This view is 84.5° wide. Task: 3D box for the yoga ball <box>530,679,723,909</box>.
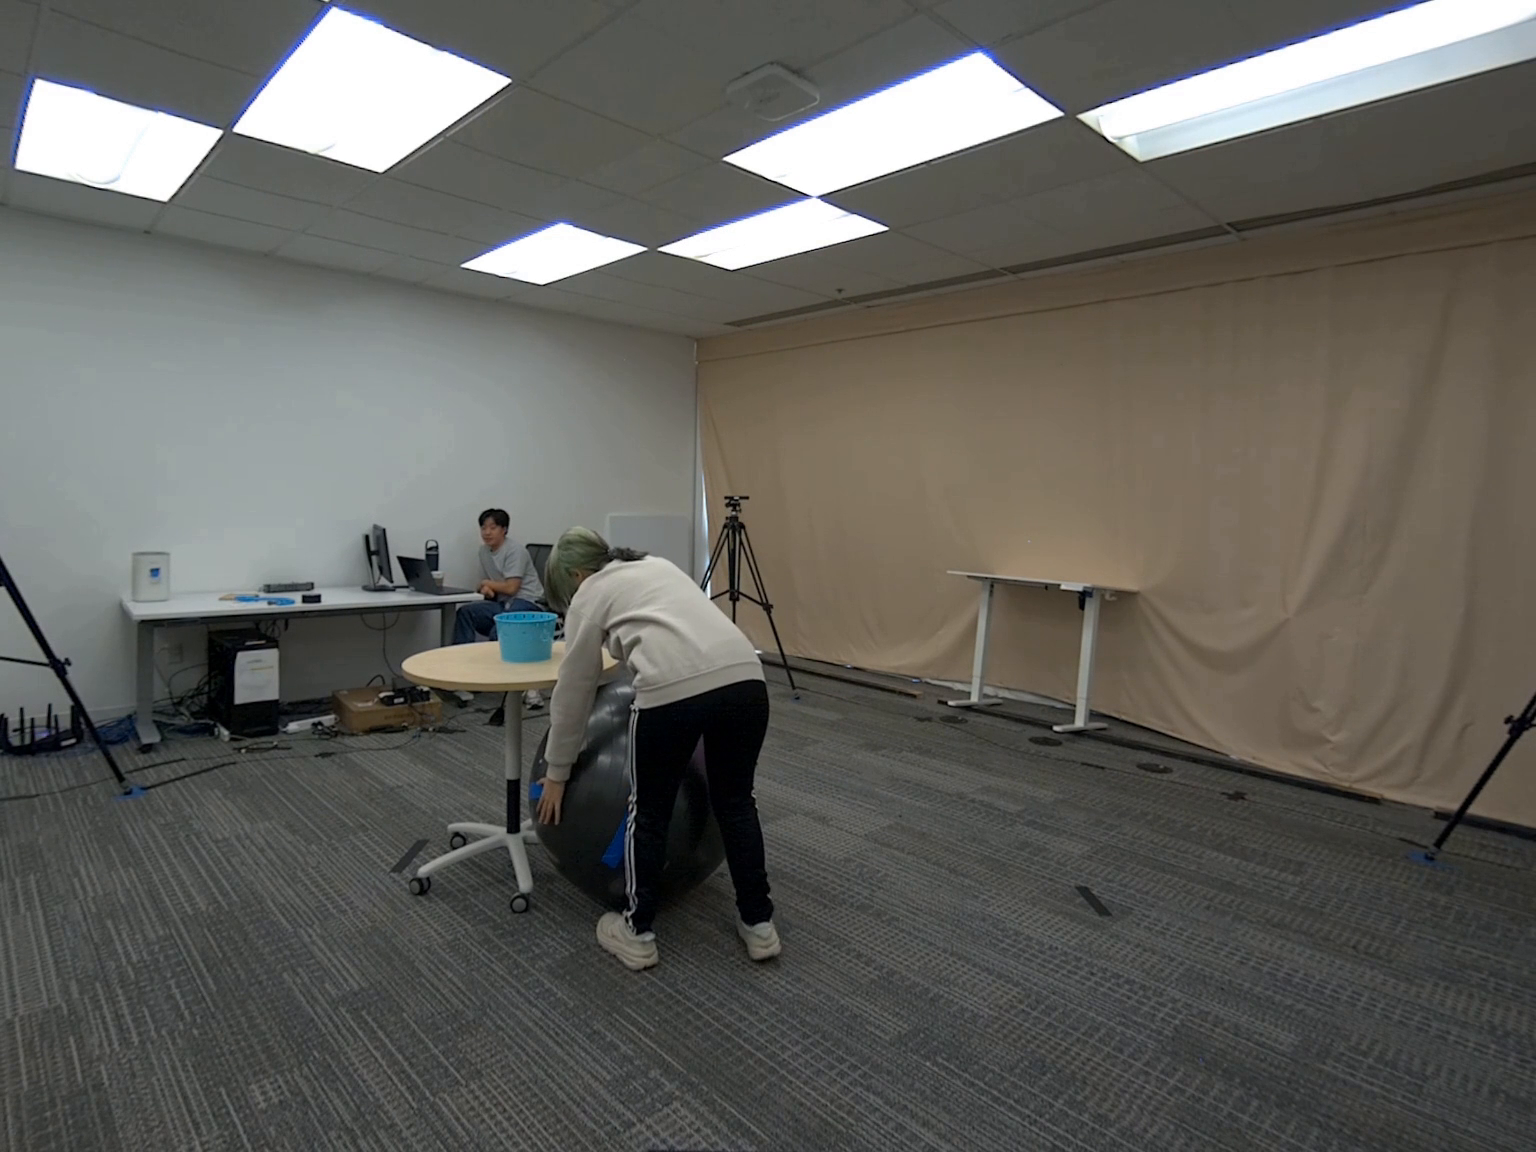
[{"bbox_3d":[-0.443,0.738,2.934,0.757,0.756,0.761,1,4,-1],"label":"yoga ball"}]
